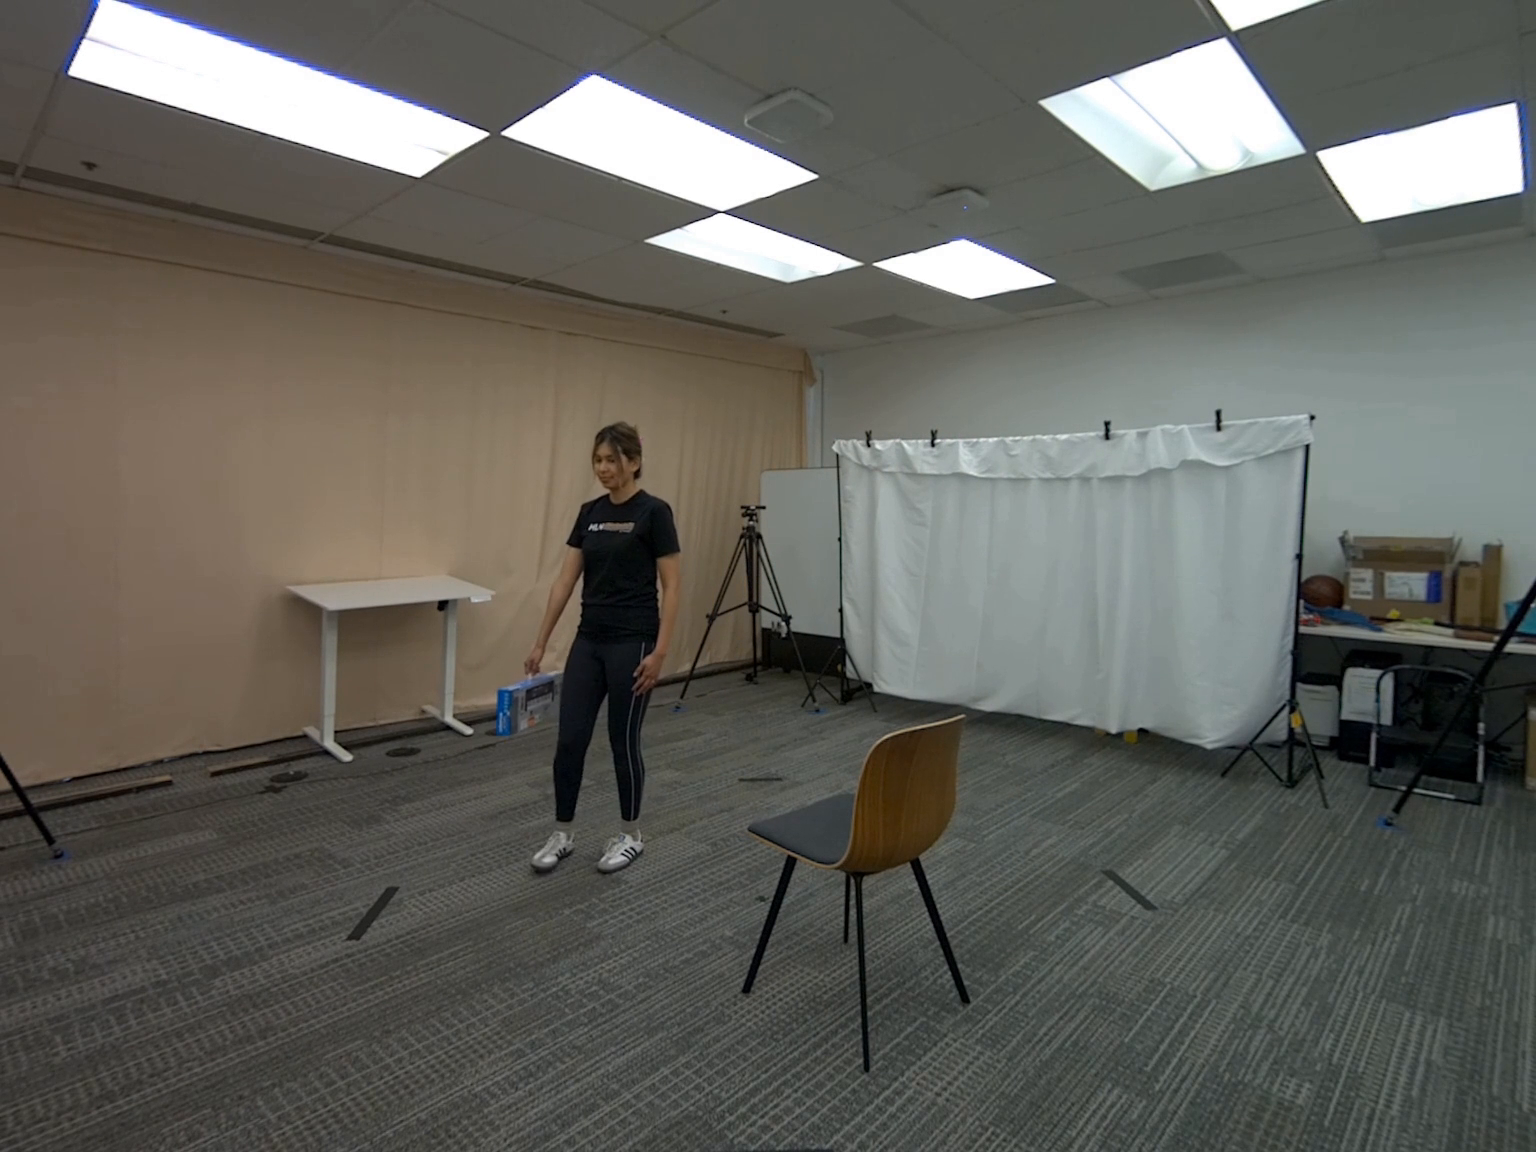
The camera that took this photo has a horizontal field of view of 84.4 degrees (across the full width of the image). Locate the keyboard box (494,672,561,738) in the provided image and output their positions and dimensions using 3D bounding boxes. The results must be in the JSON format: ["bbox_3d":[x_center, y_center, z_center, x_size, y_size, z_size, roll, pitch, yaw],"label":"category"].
[{"bbox_3d":[-0.921,0.496,3.327,0.060,0.176,0.430,4,3,14],"label":"keyboard box"}]
